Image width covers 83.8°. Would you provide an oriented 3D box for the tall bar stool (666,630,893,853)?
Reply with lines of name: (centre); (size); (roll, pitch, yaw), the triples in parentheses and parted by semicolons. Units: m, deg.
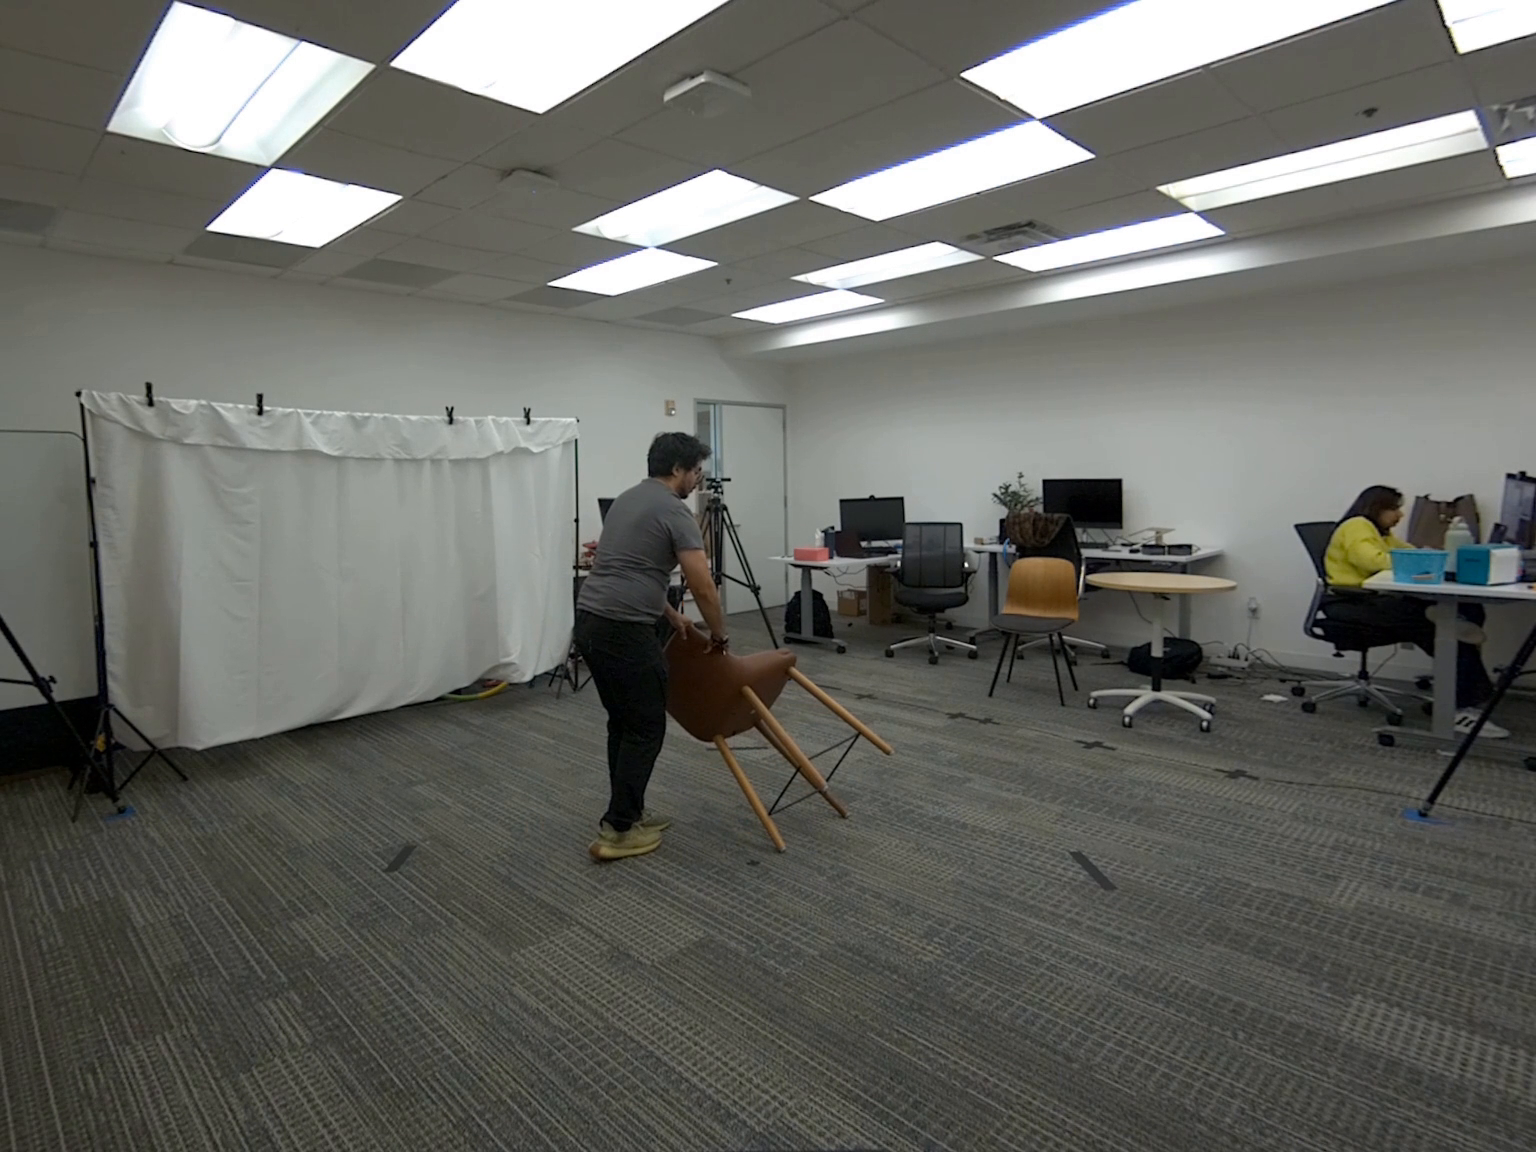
tall bar stool: (-0.017, 0.592, 3.479); (0.457, 0.452, 0.919); (-11, 47, -48)
